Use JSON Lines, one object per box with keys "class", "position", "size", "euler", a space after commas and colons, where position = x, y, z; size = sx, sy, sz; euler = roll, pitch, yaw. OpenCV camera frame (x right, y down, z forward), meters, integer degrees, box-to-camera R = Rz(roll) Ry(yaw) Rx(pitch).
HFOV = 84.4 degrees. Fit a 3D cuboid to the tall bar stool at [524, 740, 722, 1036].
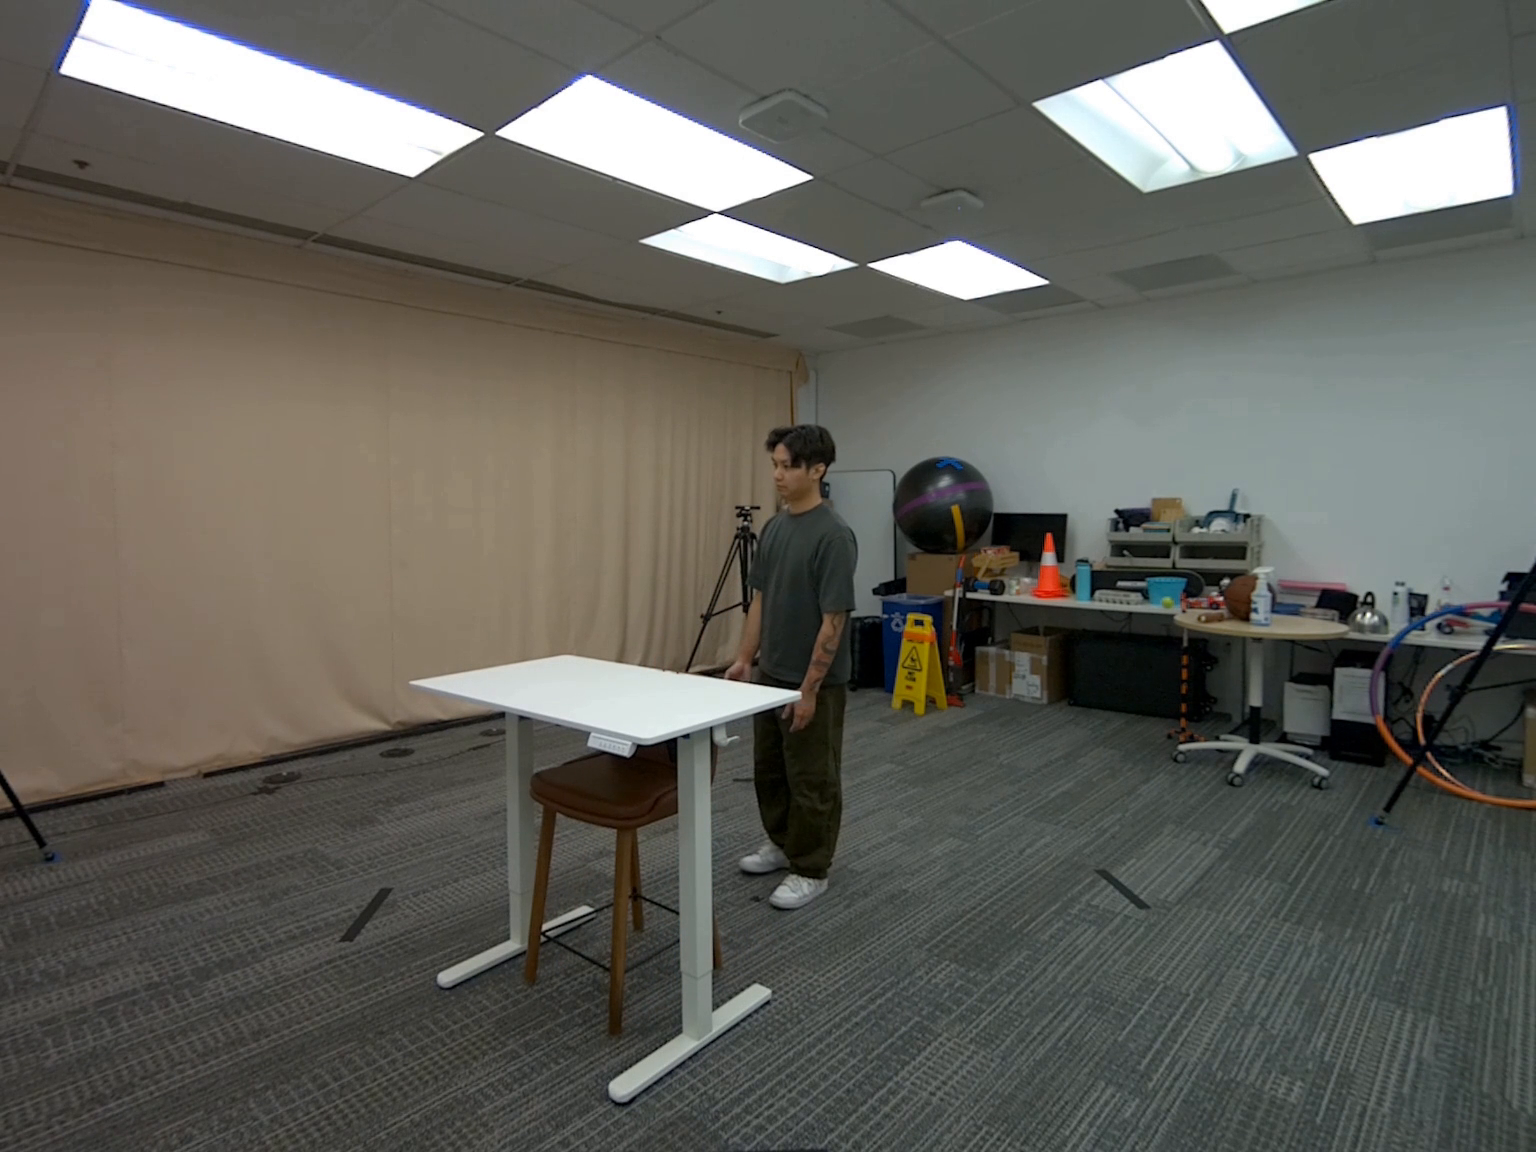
{"class": "tall bar stool", "position": [-0.410, 0.752, 2.483], "size": [0.471, 0.889, 0.453], "euler": [3, 2, 40]}
